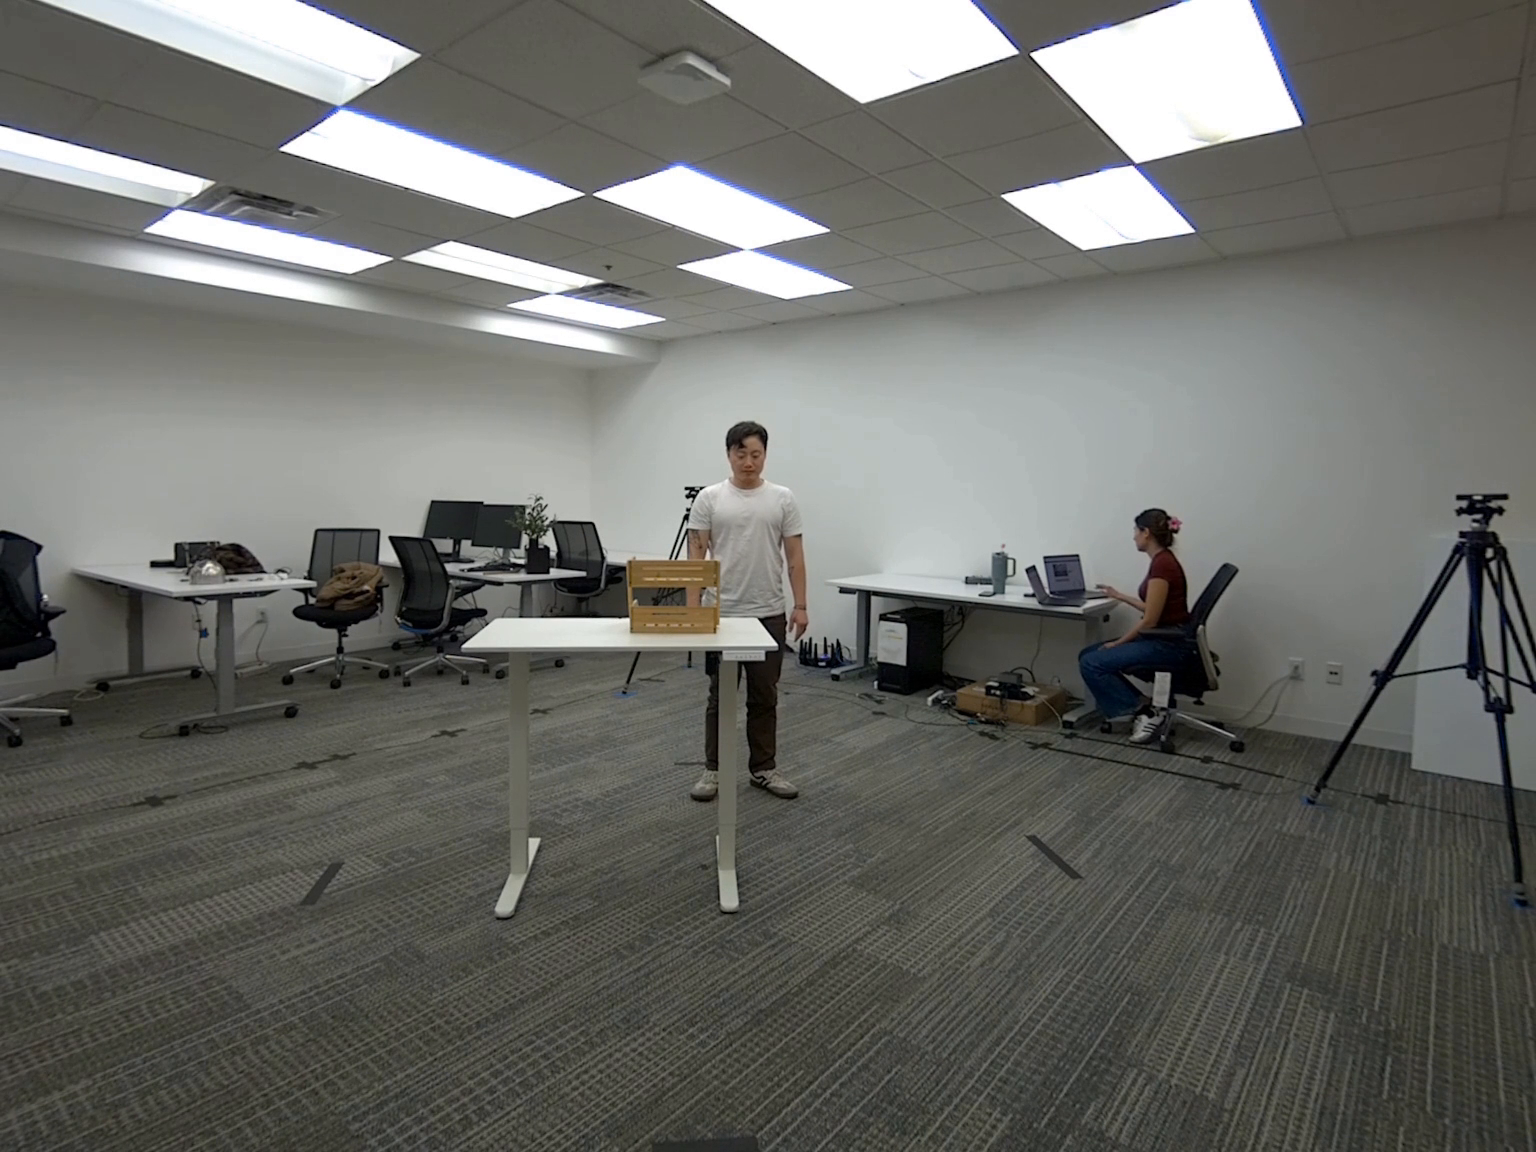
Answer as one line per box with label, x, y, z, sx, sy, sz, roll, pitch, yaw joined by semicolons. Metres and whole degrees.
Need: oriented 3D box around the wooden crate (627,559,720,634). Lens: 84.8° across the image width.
wooden crate;-0.350;0.054;3.052;0.324;0.272;0.304;0;7;-1
